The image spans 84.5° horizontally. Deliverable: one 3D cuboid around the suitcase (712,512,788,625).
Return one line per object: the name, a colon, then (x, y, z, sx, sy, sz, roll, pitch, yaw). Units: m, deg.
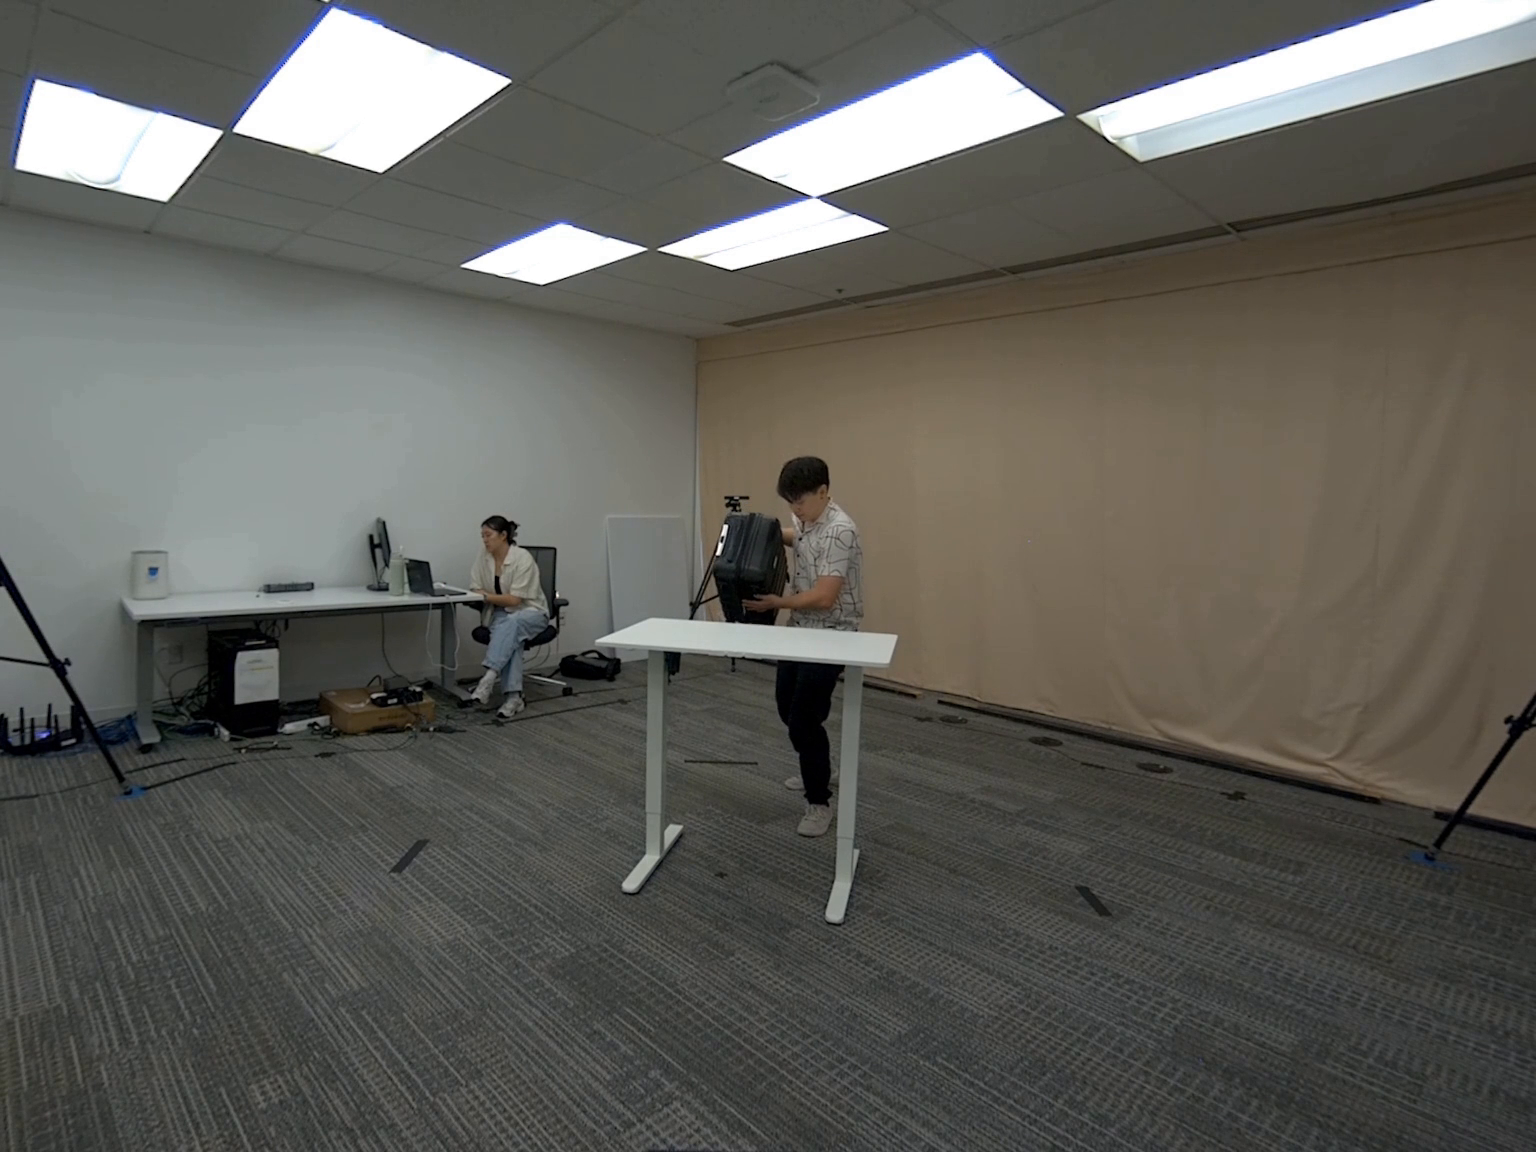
suitcase: (-0.079, -0.025, 3.831, 0.251, 0.380, 0.536, 8, -31, 11)
